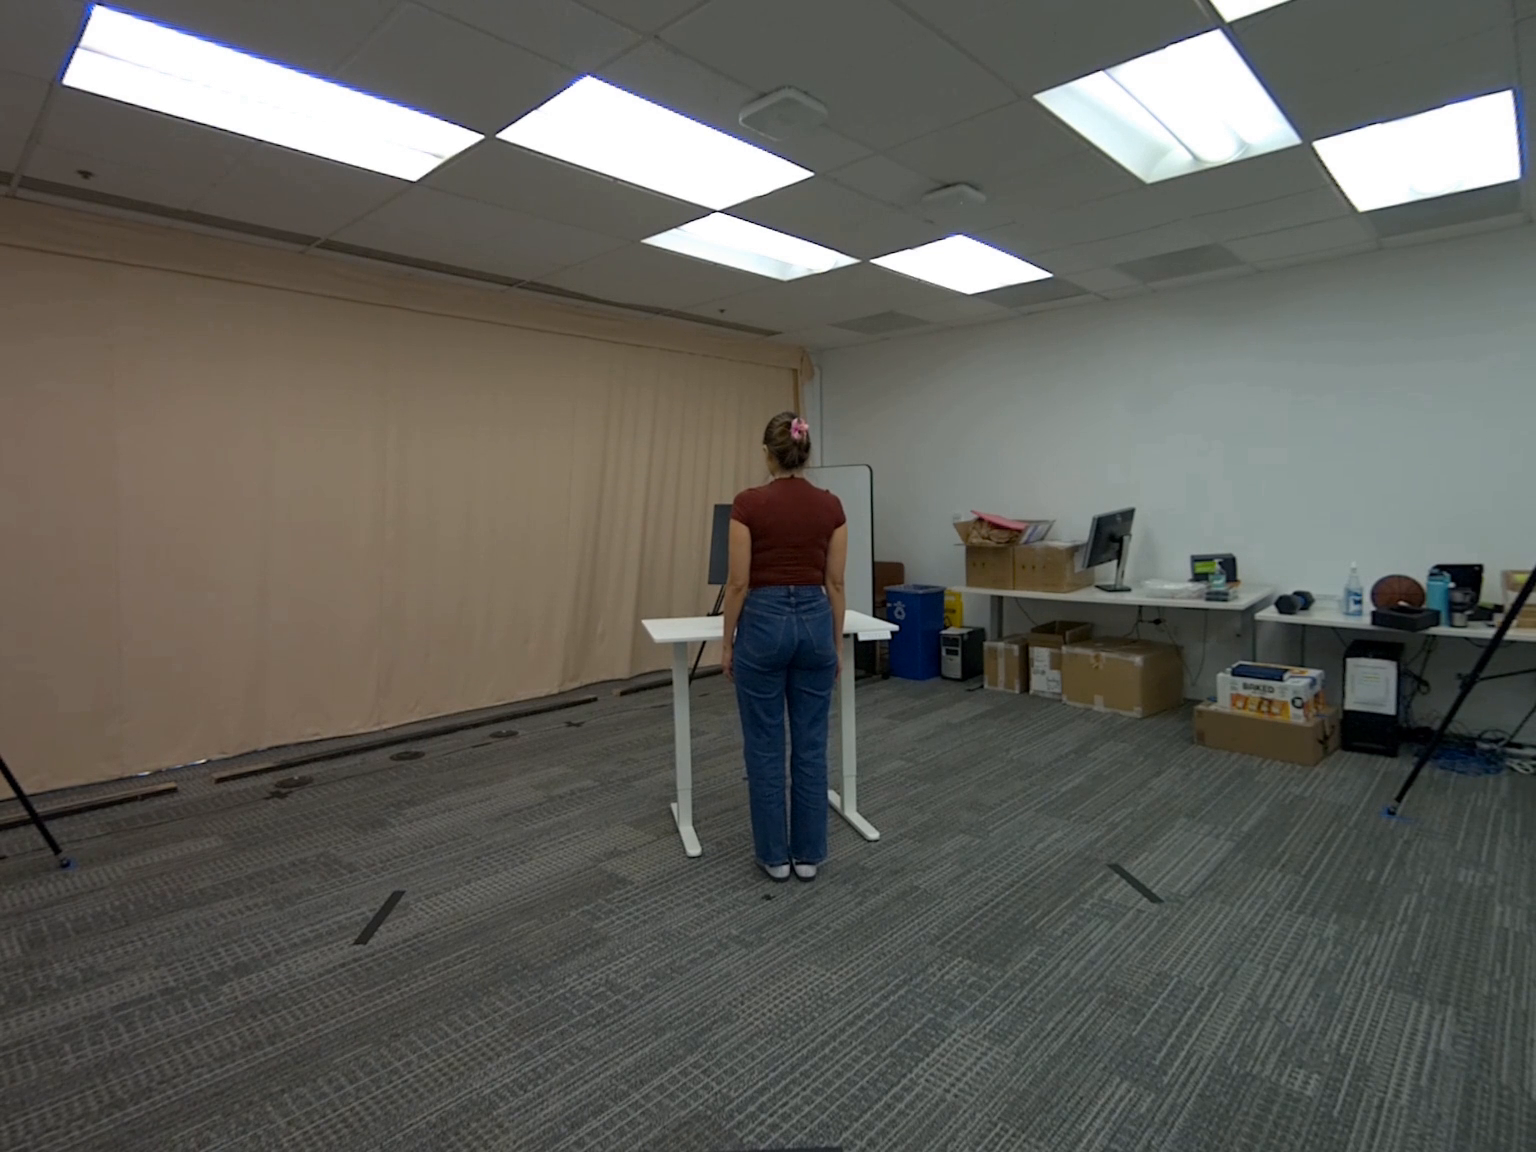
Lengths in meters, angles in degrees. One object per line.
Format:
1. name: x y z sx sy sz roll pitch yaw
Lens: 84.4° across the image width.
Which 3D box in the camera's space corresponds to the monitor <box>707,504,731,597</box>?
1. monitor: 0.037 -0.041 3.508 0.547 0.523 0.184 1 -1 14
